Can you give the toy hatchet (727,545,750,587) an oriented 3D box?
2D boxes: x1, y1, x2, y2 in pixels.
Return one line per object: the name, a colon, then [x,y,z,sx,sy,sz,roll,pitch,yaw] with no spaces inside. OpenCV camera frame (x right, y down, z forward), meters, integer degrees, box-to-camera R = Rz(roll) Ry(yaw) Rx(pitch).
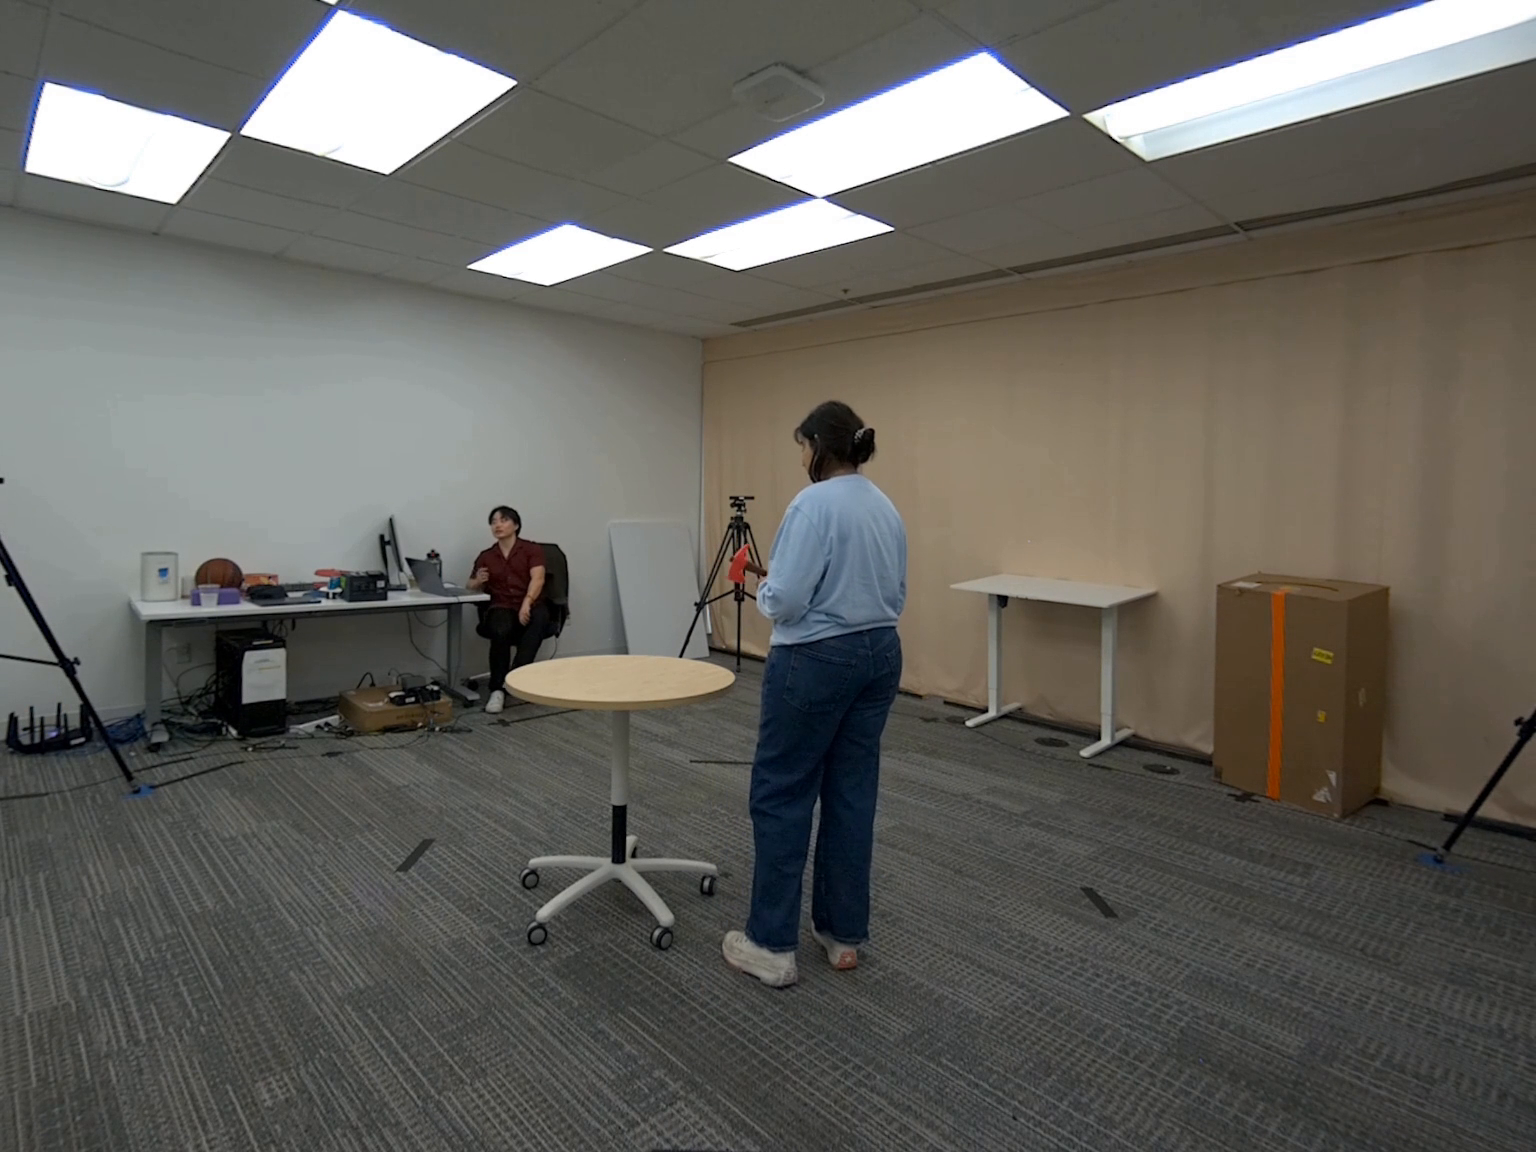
toy hatchet: [-0.022,0.024,2.704,0.269,0.131,0.029,42,0,-2]
